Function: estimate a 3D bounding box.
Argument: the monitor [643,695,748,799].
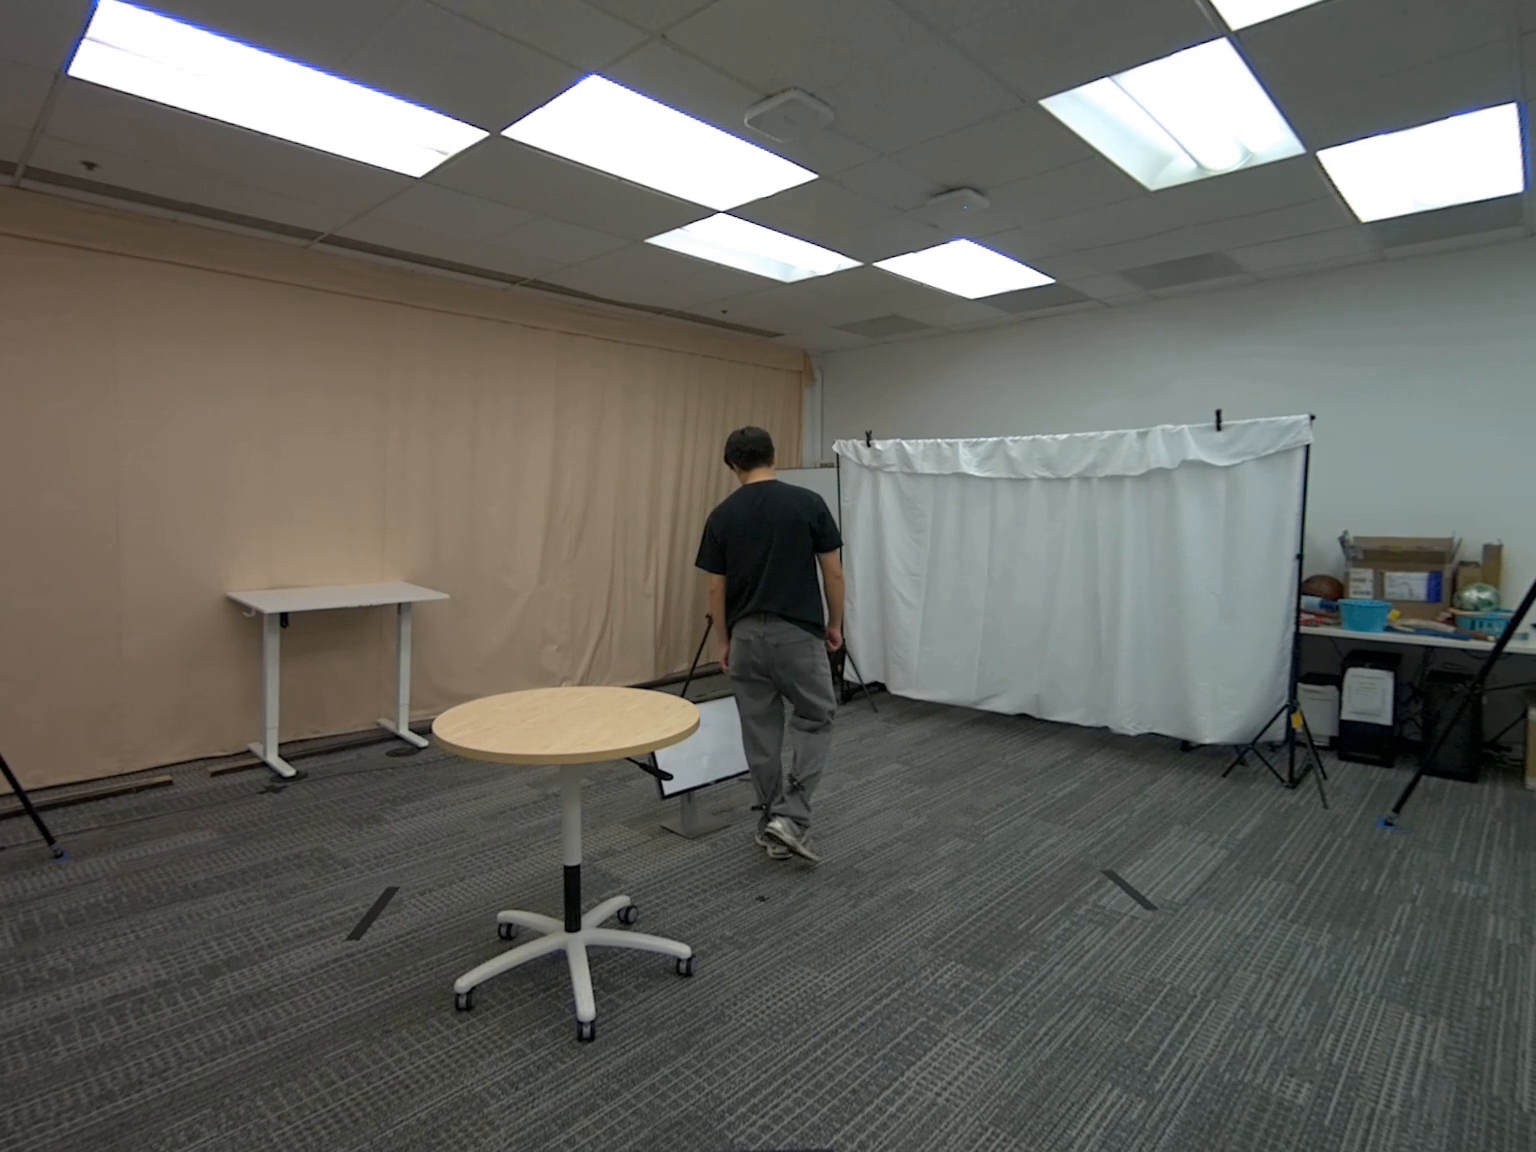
[{"bbox_3d":[-0.306,0.823,3.656,0.545,0.565,0.229,-4,5,-42],"label":"monitor"}]
